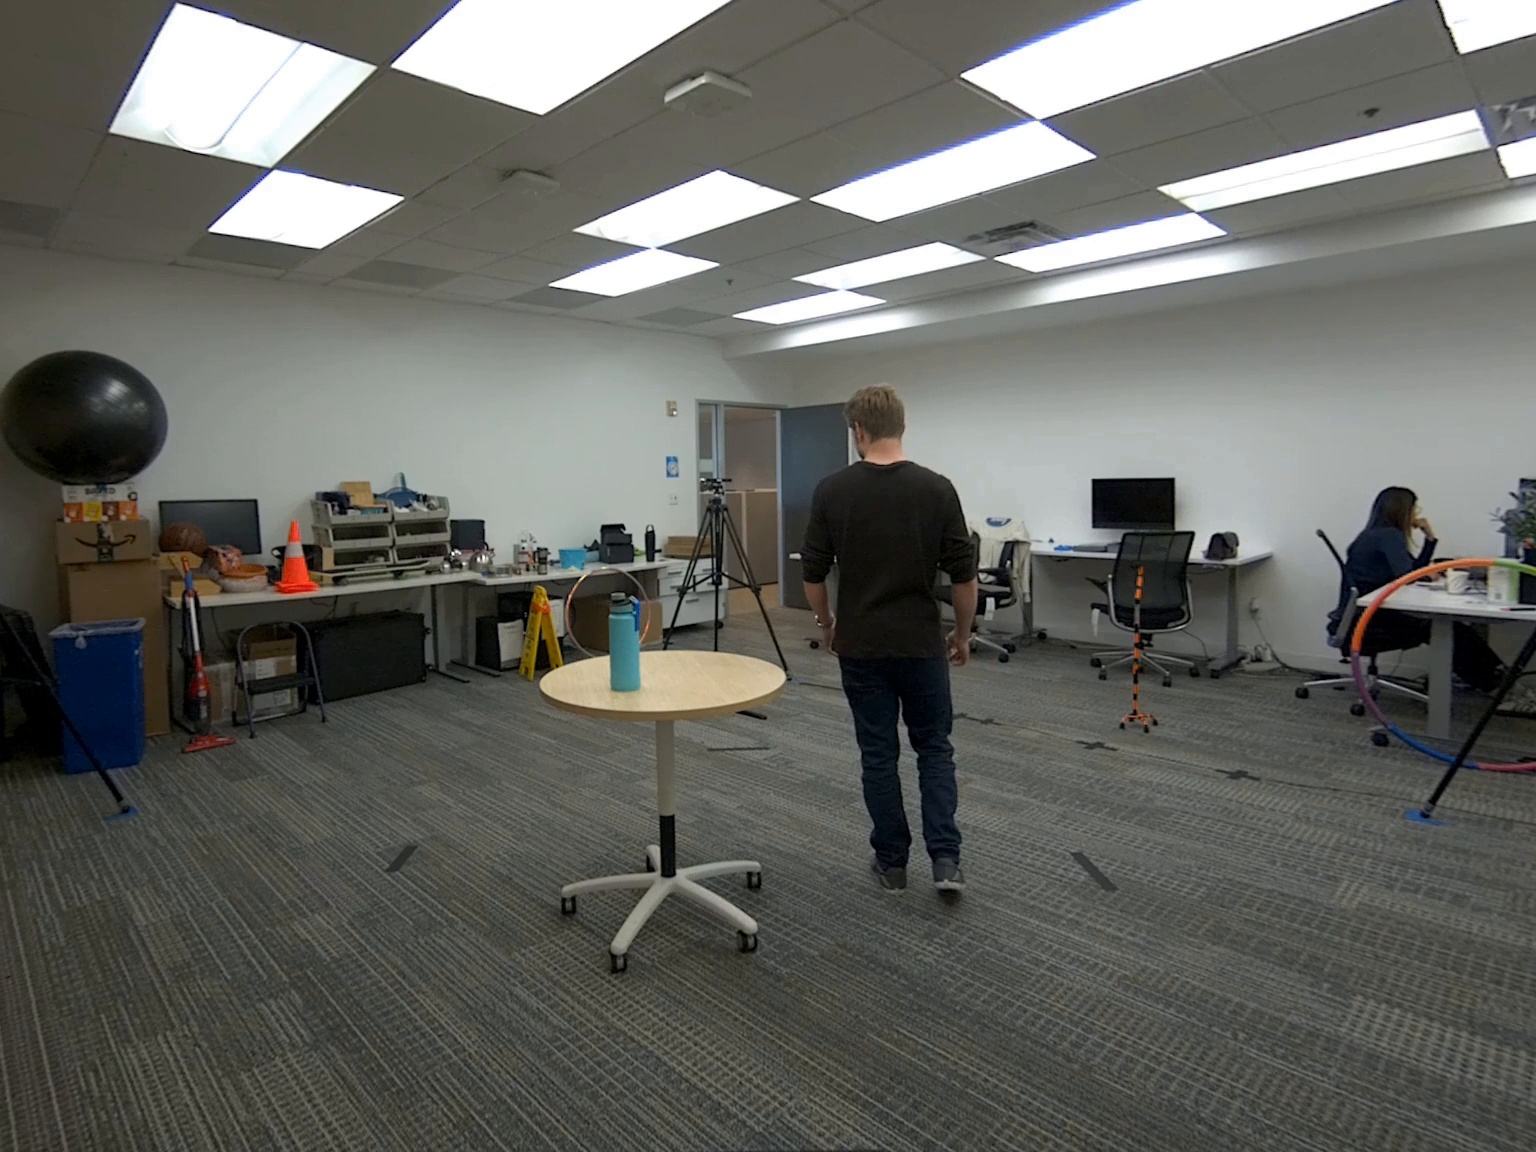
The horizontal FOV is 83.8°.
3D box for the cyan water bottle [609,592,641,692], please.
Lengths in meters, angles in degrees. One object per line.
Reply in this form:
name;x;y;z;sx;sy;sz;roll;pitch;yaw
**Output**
cyan water bottle;-0.431;0.193;2.544;0.092;0.282;0.093;-1;3;-2
